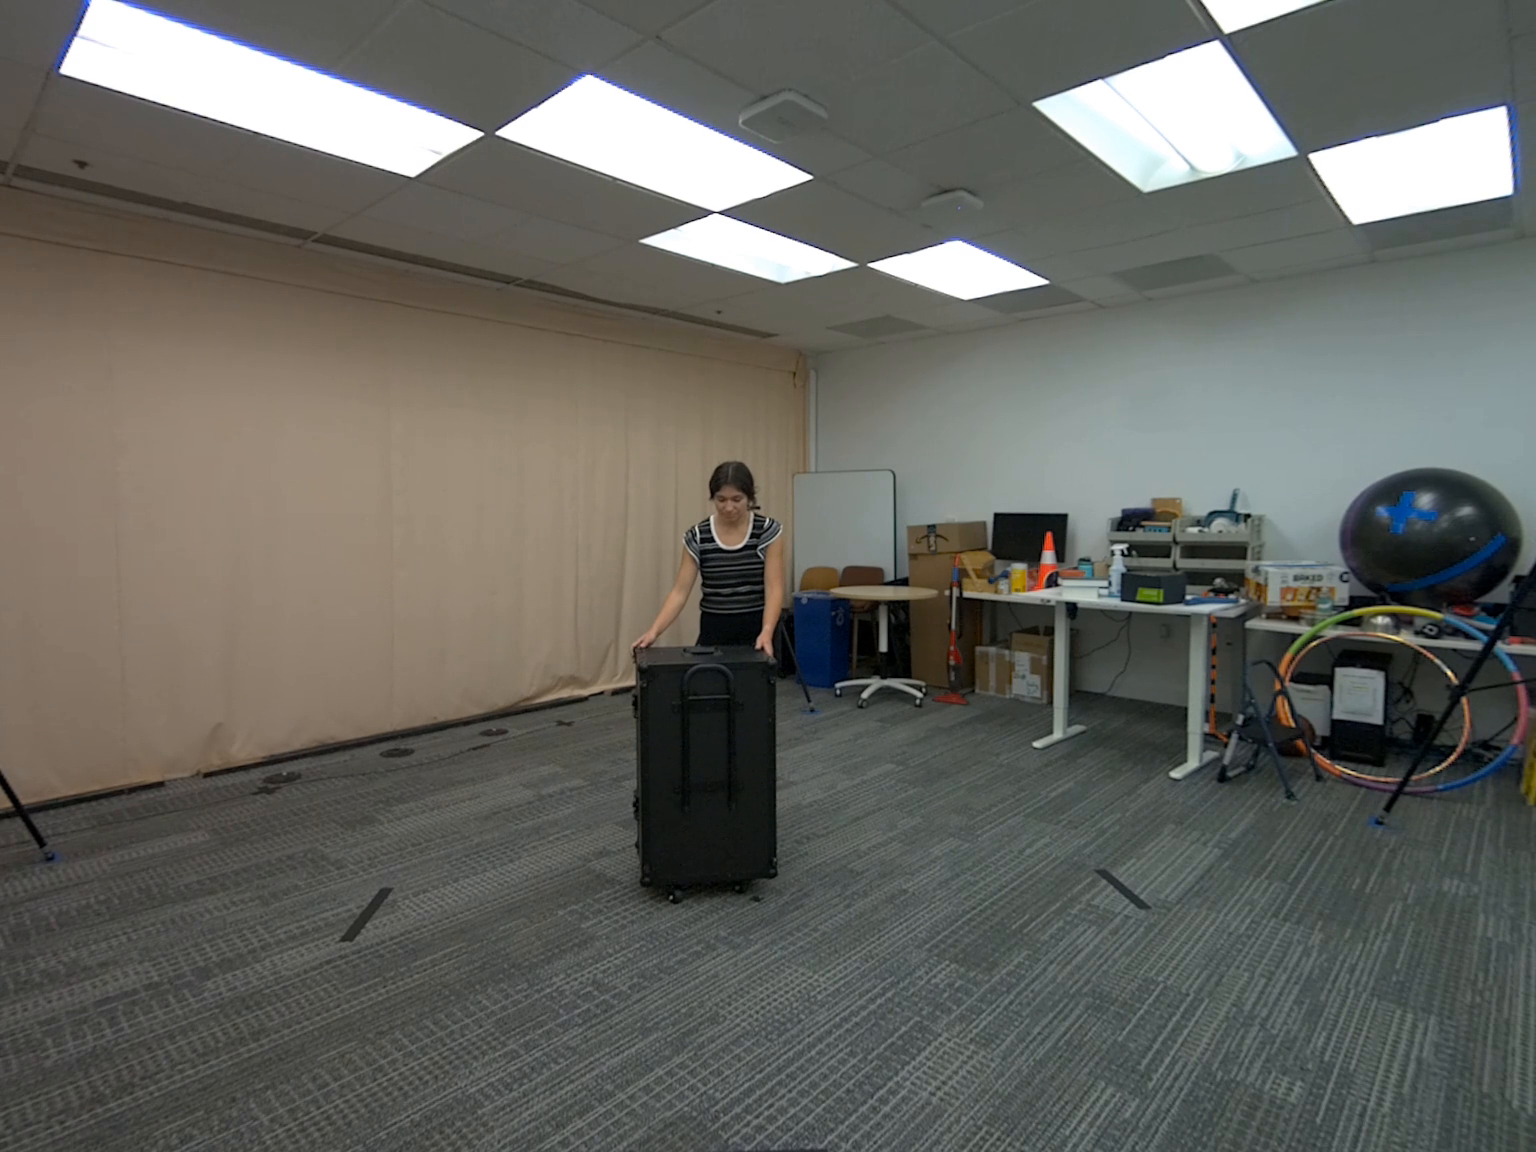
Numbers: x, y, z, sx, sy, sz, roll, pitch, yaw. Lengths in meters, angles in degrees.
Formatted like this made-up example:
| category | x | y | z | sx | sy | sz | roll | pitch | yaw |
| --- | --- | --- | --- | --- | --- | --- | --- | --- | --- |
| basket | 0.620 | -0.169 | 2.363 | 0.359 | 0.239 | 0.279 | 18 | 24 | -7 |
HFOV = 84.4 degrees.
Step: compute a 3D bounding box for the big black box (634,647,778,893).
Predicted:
| category | x | y | z | sx | sy | sz | roll | pitch | yaw |
| --- | --- | --- | --- | --- | --- | --- | --- | --- | --- |
| big black box | -0.231 | 0.713 | 3.102 | 0.516 | 0.859 | 0.401 | 0 | 4 | -9 |
